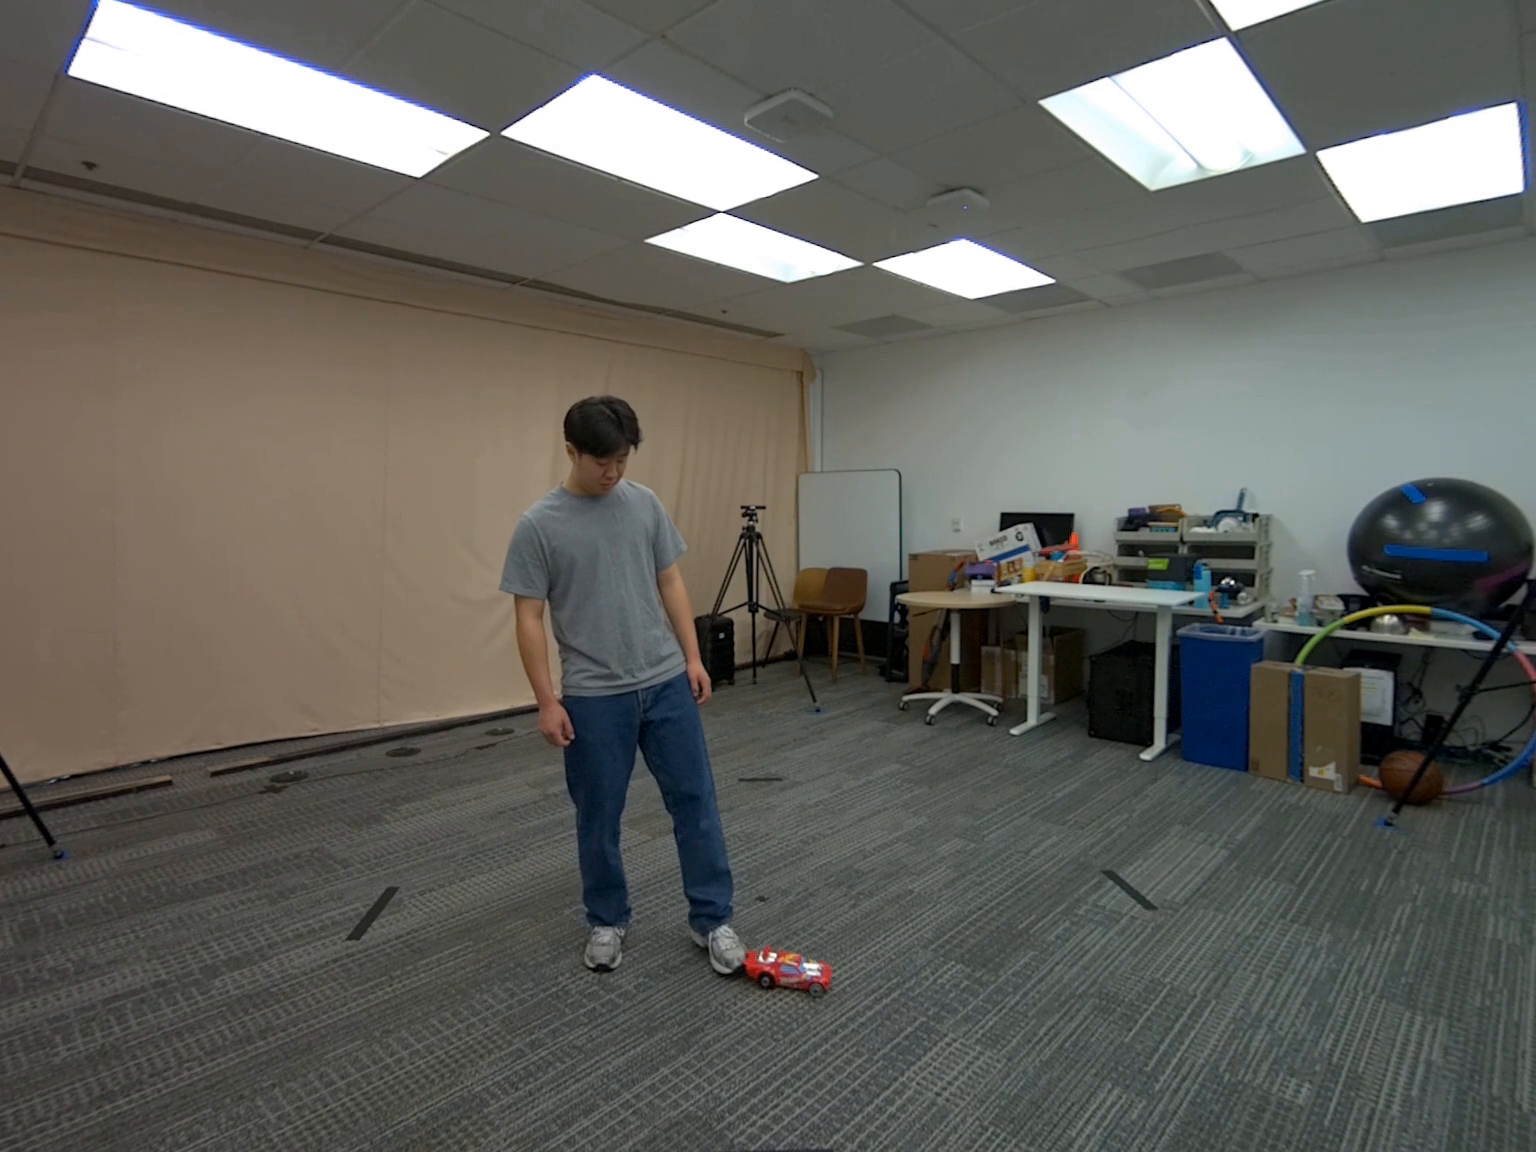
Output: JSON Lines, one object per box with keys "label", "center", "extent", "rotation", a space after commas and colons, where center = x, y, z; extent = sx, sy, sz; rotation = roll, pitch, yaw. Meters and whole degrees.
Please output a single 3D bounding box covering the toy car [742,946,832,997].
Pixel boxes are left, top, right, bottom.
{"label": "toy car", "center": [0.054, 1.155, 2.451], "extent": [0.258, 0.083, 0.129], "rotation": [13, 8, 12]}
